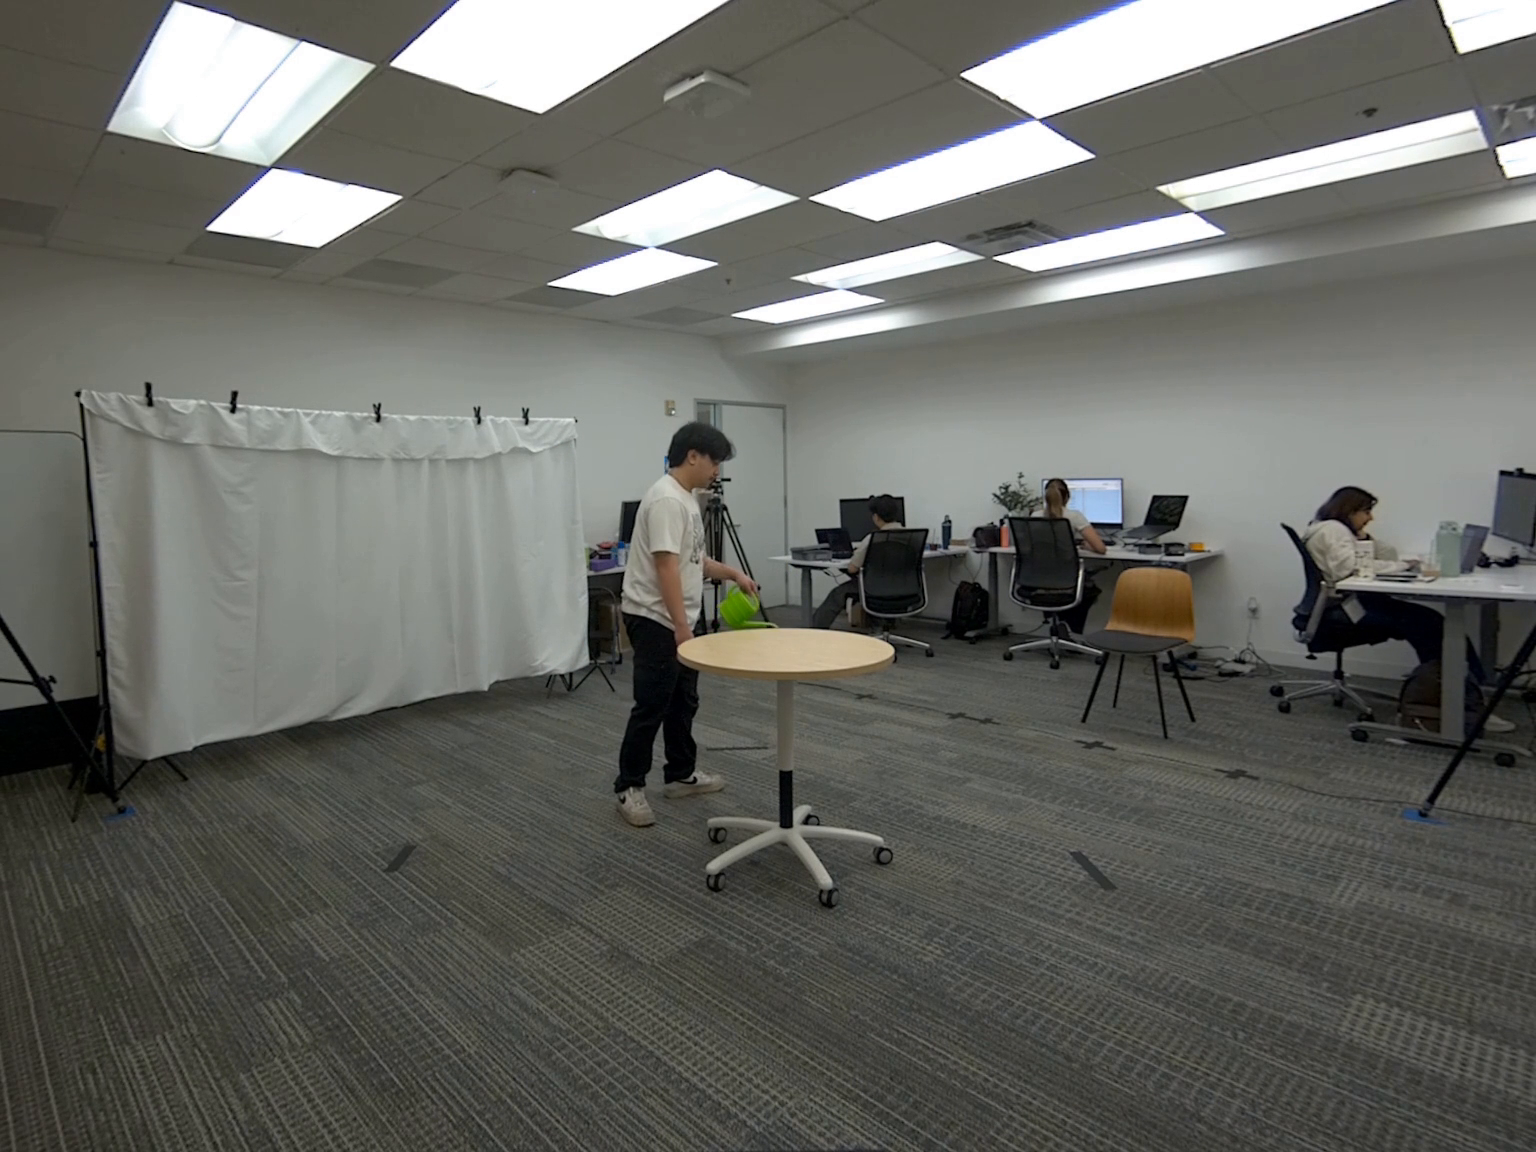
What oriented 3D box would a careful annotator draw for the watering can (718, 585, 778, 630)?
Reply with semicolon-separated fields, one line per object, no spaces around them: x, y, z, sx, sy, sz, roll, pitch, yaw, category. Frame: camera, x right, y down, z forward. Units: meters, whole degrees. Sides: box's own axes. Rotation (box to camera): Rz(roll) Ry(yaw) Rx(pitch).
-0.111;0.172;3.846;0.177;0.282;0.096;-36;-11;8;watering can
